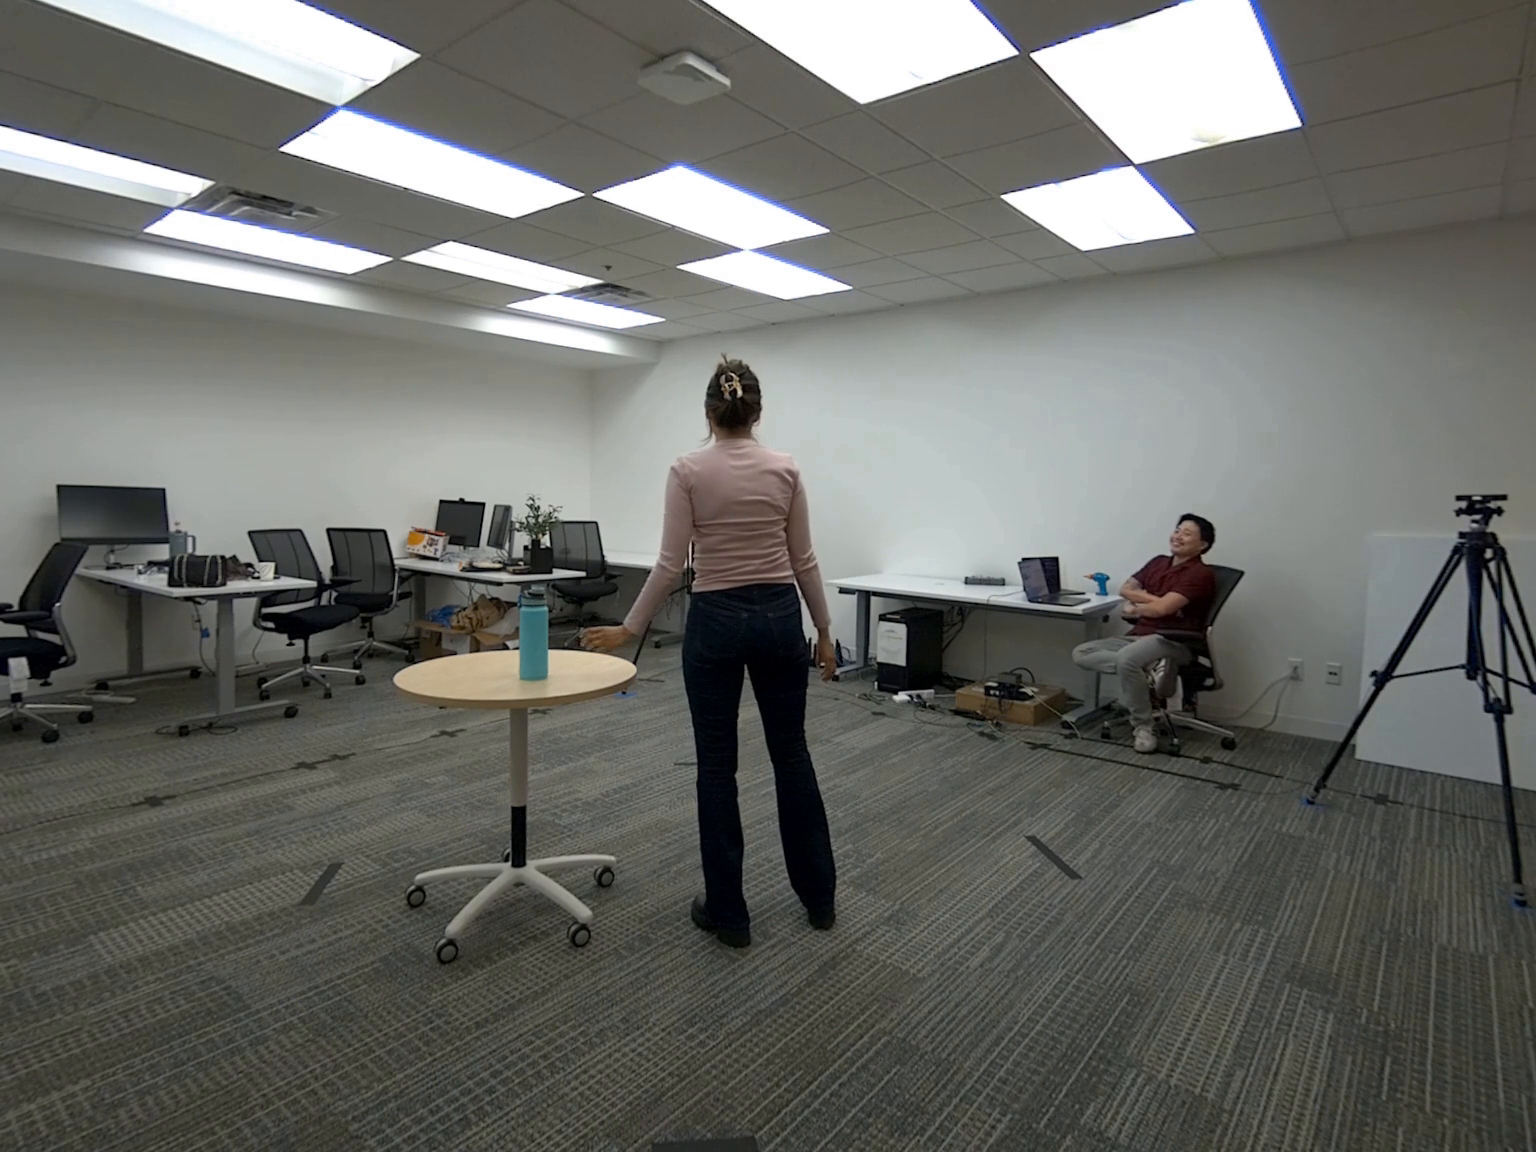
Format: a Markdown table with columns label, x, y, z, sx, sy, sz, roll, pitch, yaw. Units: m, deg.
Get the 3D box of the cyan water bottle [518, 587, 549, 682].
| label | x | y | z | sx | sy | sz | roll | pitch | yaw |
| --- | --- | --- | --- | --- | --- | --- | --- | --- | --- |
| cyan water bottle | -0.746 | 0.177 | 2.677 | 0.092 | 0.283 | 0.092 | 0 | 1 | -2 |
